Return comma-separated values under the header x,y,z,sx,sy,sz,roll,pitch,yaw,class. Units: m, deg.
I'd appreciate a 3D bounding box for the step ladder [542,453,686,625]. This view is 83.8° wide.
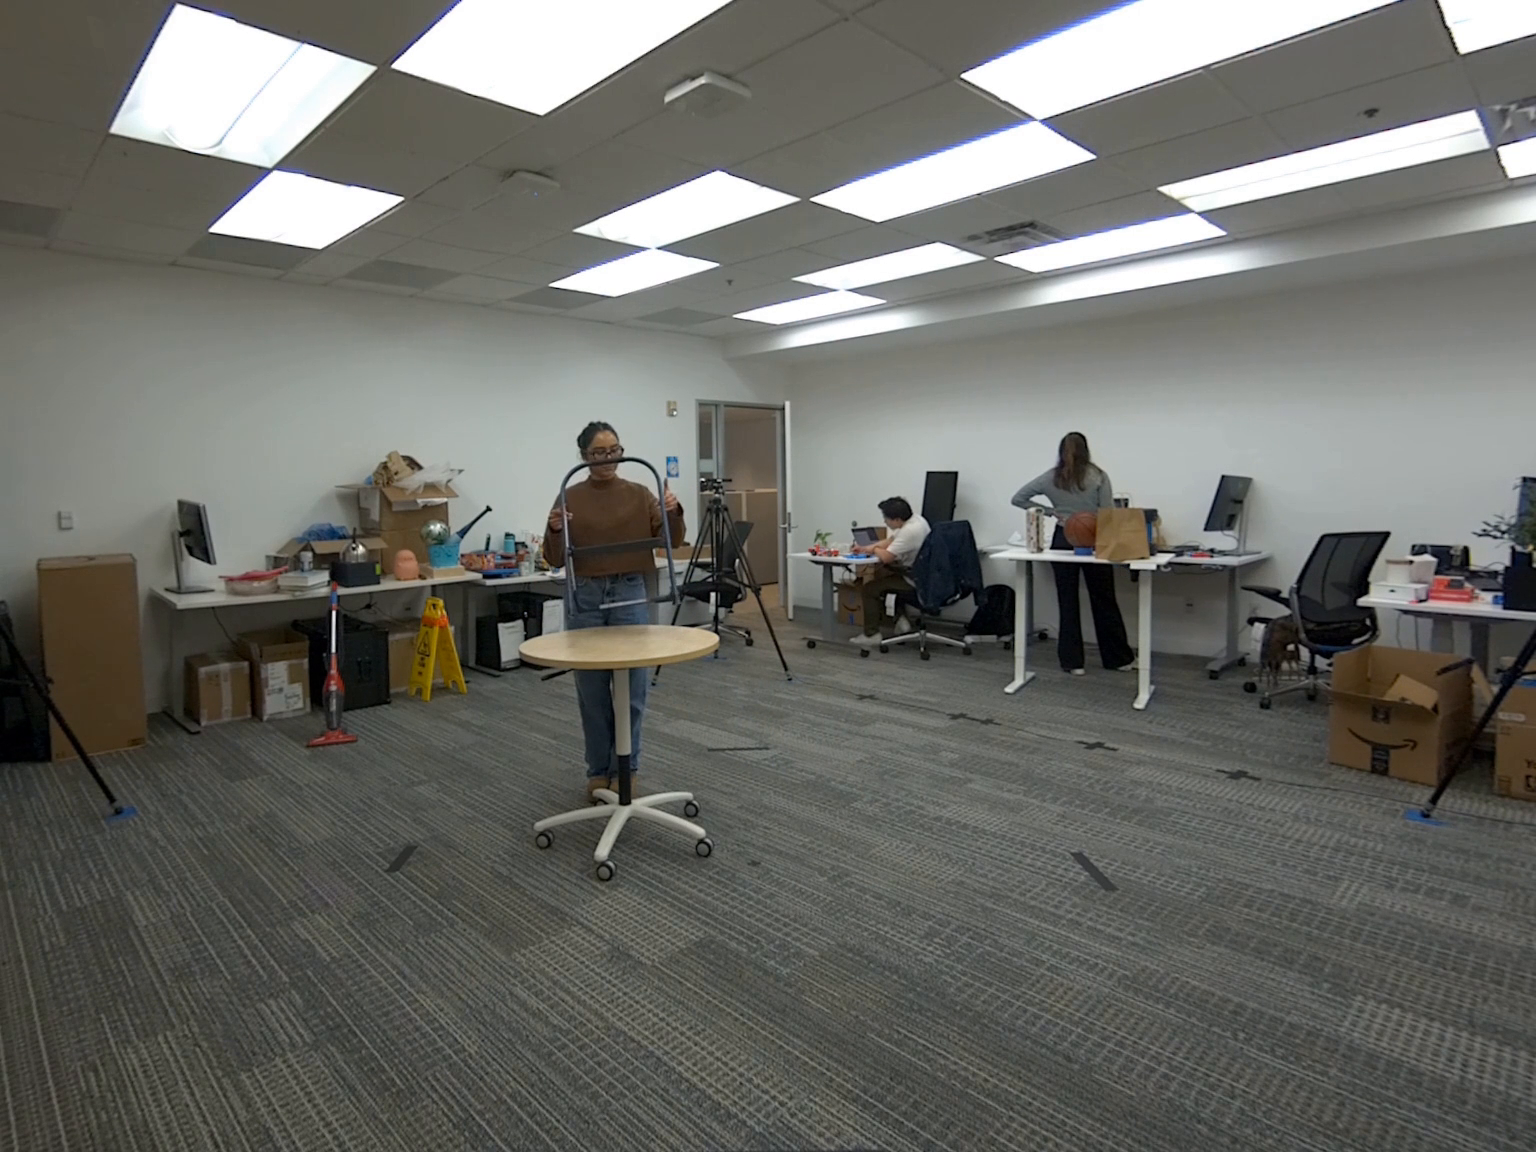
x,y,z,sx,sy,sz,roll,pitch,yaw,class
-0.598,-0.158,3.368,0.428,0.605,0.352,-6,2,-8,step ladder
